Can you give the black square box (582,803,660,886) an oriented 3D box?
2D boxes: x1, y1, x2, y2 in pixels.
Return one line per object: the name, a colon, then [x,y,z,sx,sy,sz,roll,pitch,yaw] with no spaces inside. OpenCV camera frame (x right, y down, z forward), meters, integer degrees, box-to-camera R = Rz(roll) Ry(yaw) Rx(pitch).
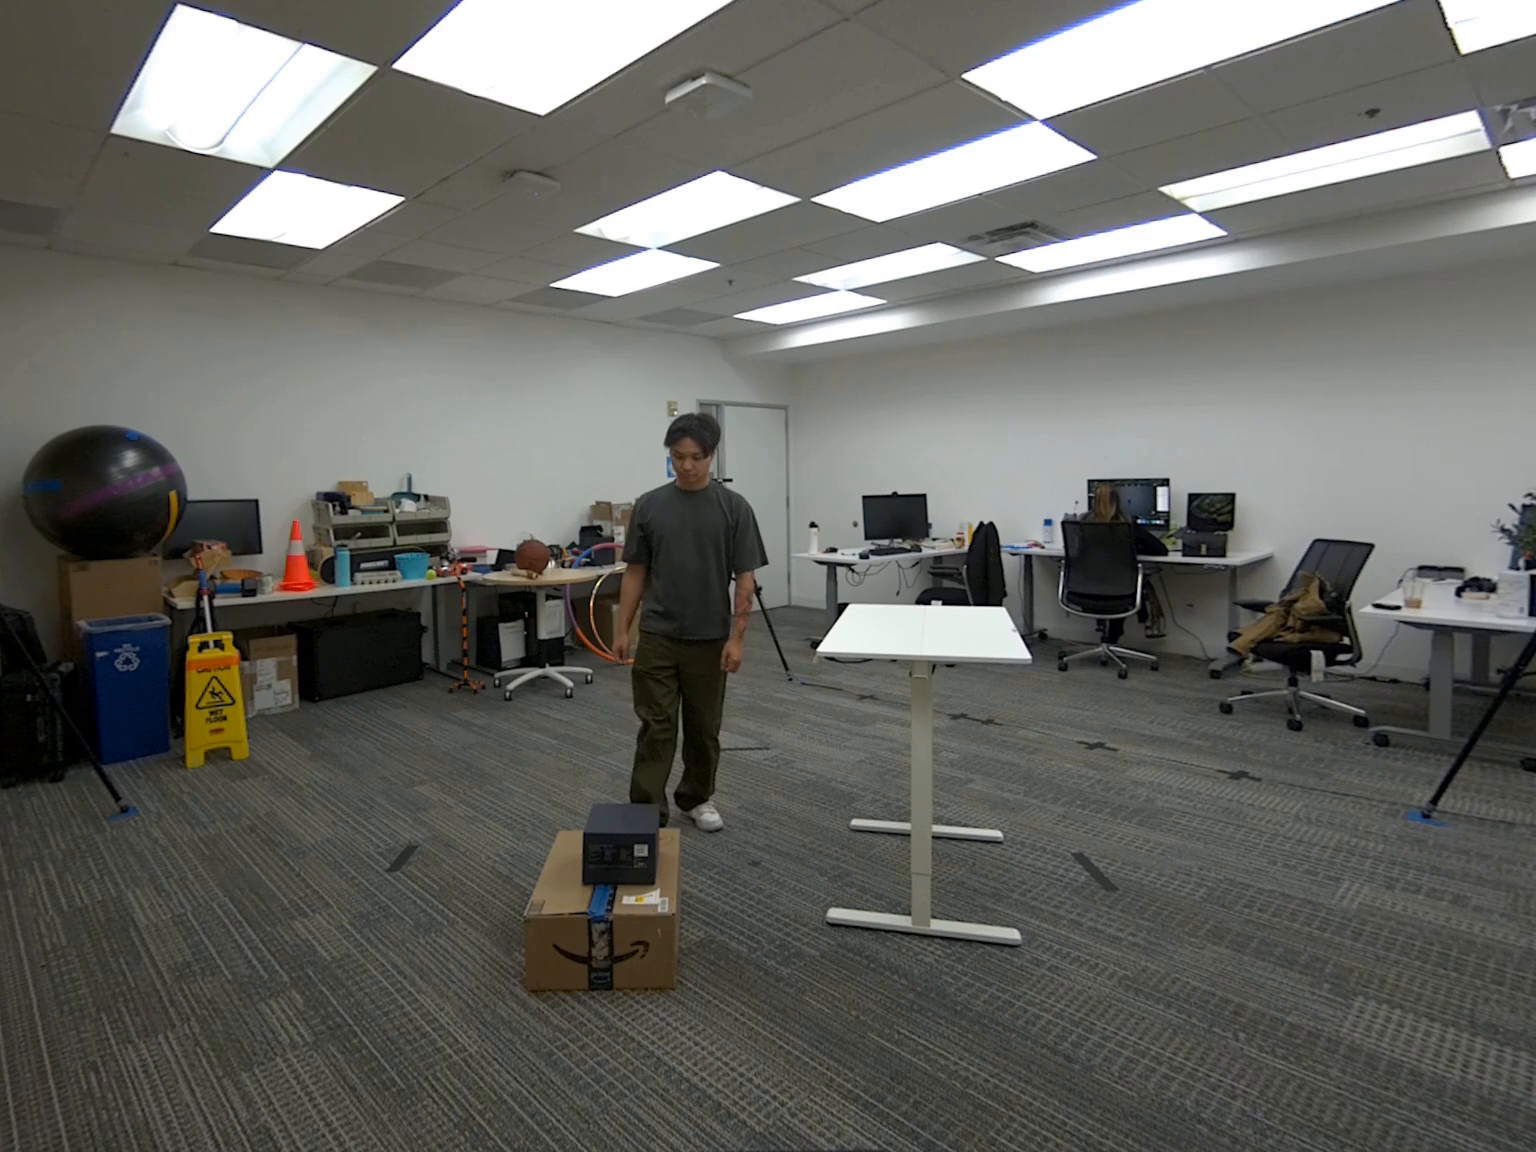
black square box: [-0.447,0.812,2.609,0.216,0.155,0.230,0,7,-4]
